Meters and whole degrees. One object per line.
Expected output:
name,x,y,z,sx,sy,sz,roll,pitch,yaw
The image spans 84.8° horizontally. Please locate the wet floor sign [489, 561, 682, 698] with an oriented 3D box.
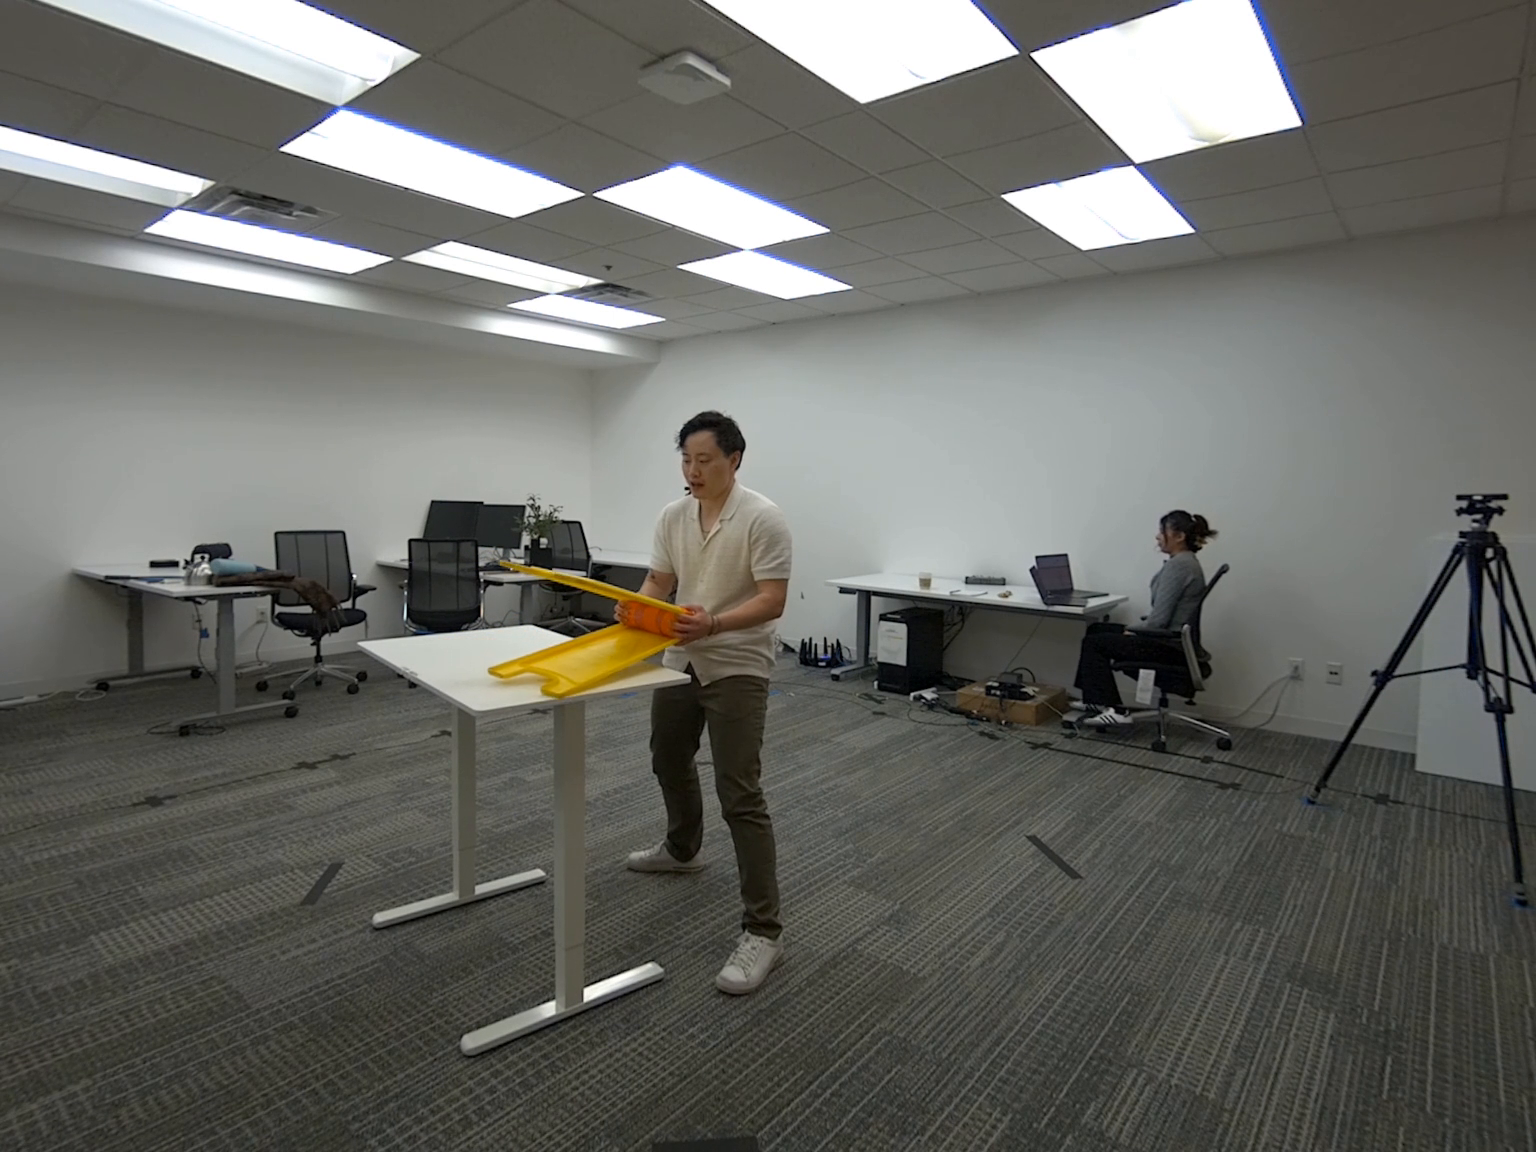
wet floor sign,-0.432,0.122,2.373,0.292,0.289,0.627,9,6,34
